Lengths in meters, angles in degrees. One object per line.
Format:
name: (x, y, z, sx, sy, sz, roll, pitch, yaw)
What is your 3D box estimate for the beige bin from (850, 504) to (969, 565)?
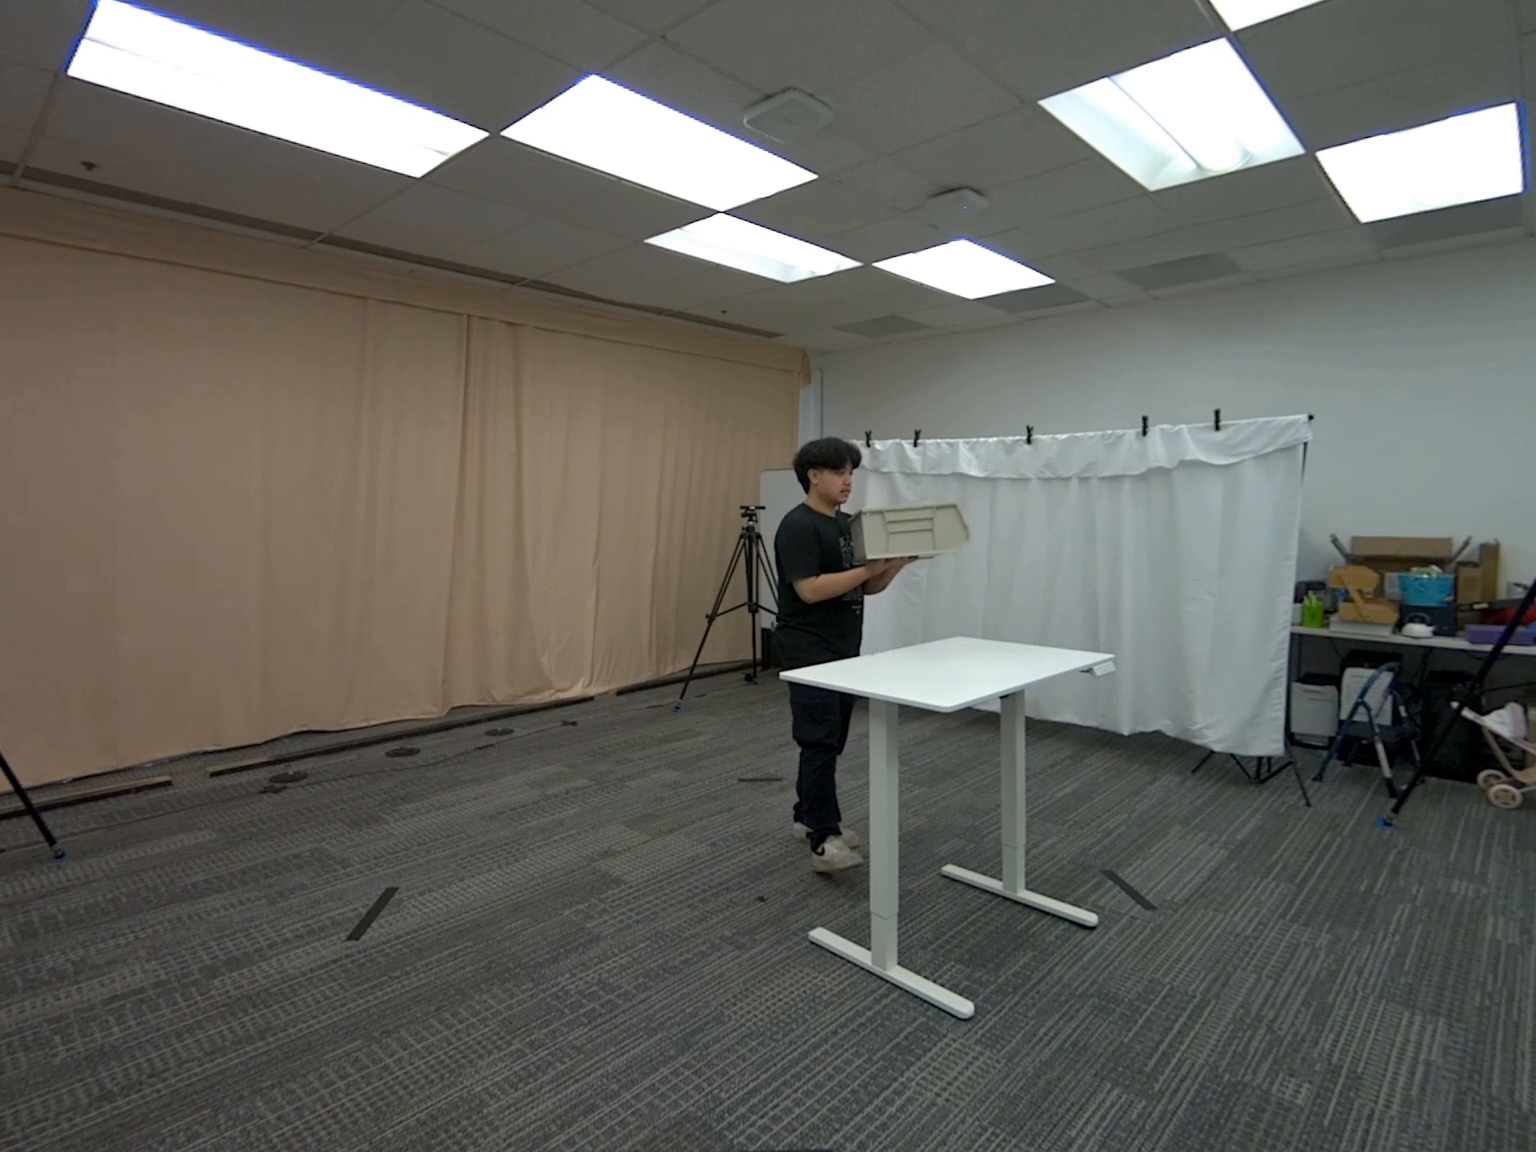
beige bin: (0.512, -0.152, 3.165, 0.376, 0.189, 0.424, -5, -1, -5)
